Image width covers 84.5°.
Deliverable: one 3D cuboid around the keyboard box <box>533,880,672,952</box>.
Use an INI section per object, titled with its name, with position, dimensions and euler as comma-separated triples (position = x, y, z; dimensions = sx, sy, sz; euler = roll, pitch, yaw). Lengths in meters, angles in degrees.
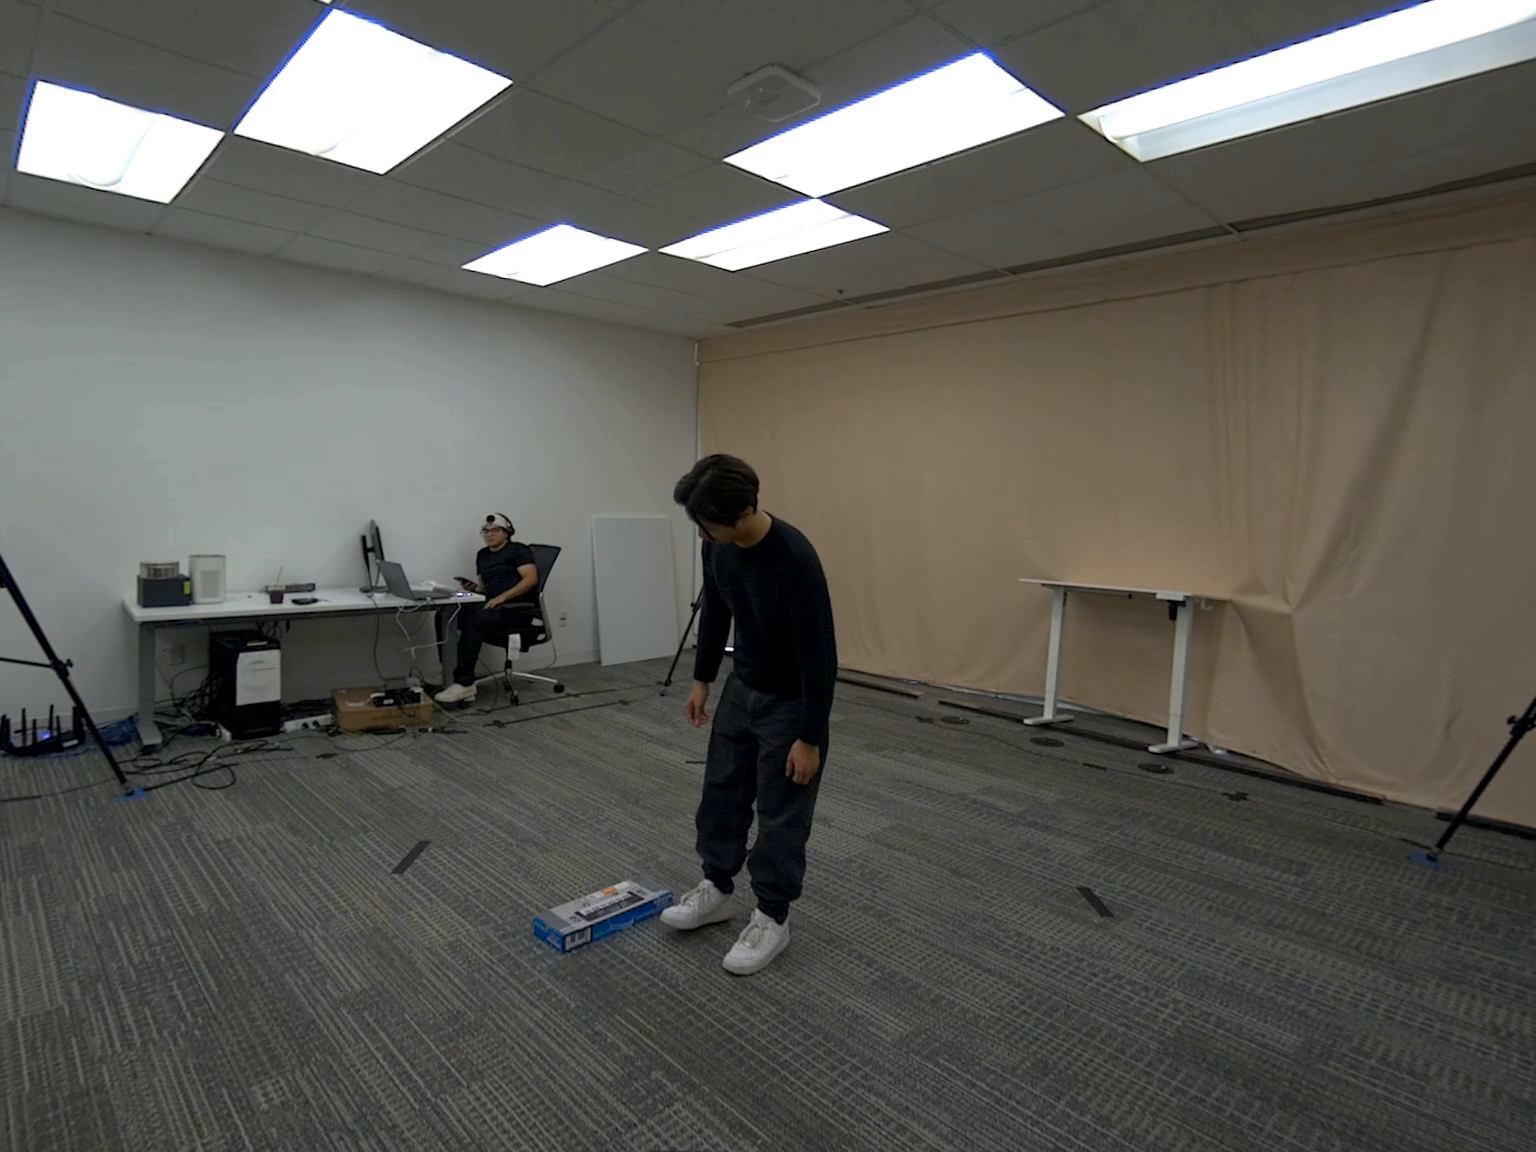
[keyboard box]
position = -0.538, 1.098, 2.760
dimensions = 0.180, 0.059, 0.427
euler = 5, 7, 45
